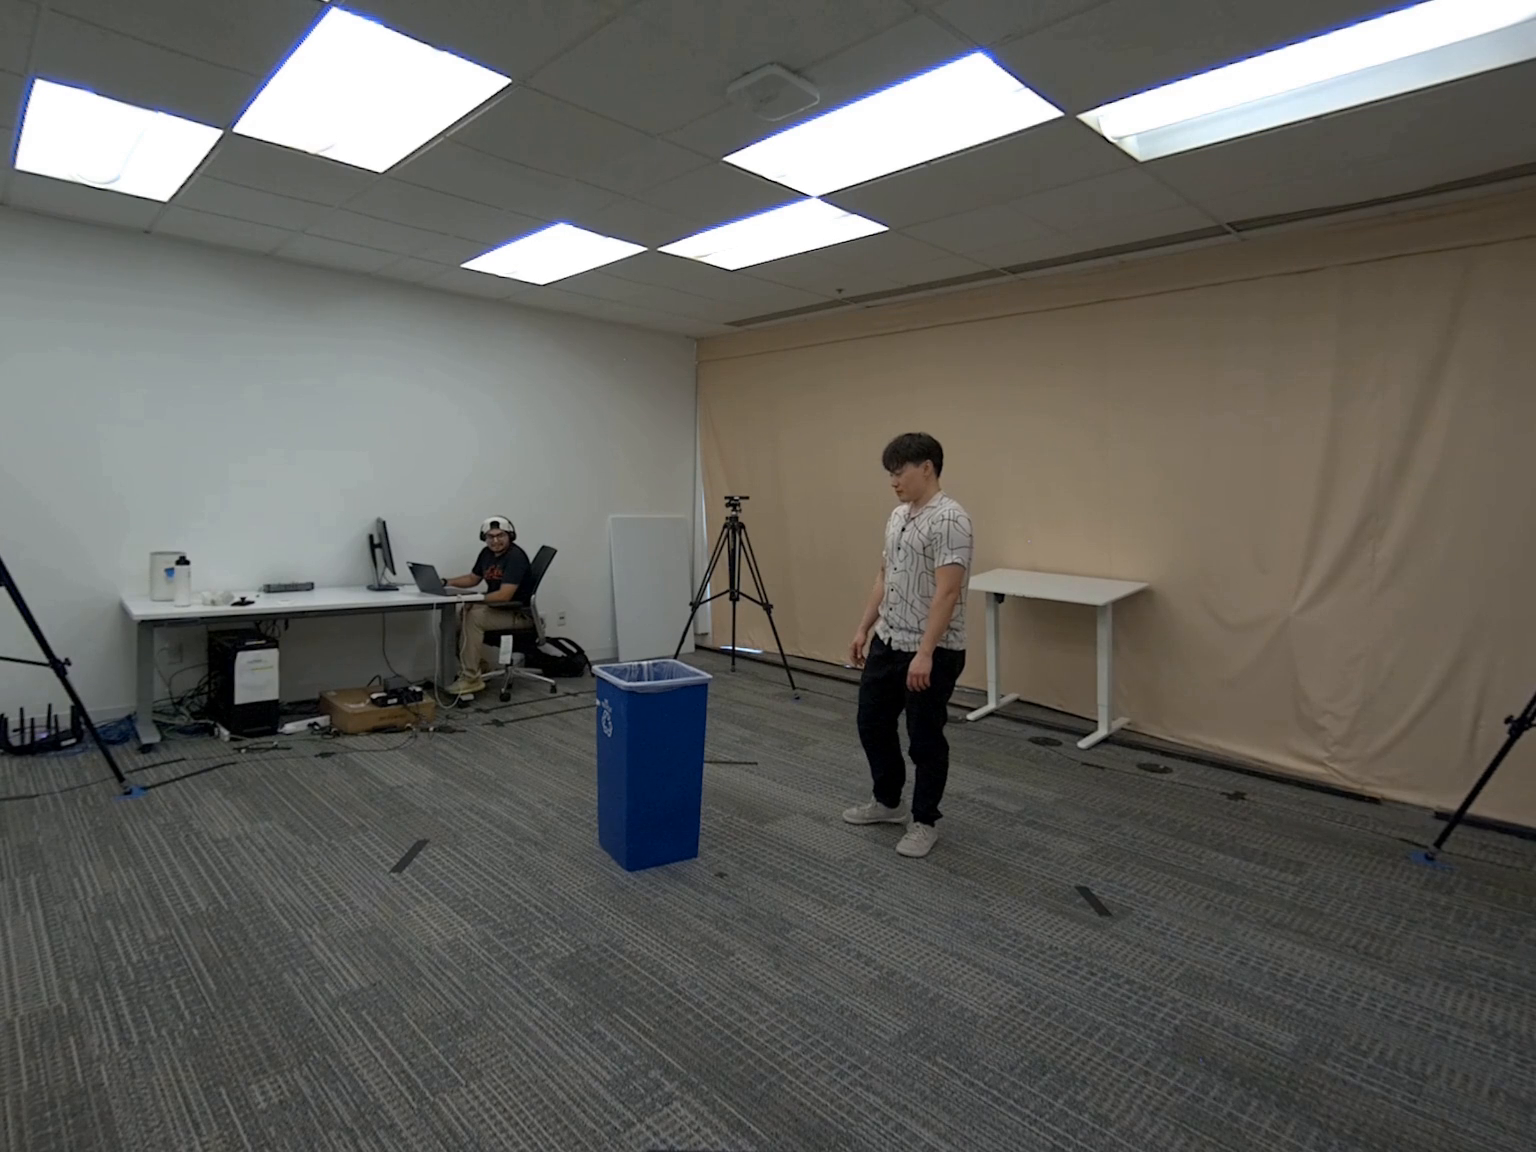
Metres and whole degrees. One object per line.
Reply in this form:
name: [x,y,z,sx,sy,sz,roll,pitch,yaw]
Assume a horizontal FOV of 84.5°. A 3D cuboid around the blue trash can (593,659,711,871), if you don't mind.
blue trash can: [-0.468,0.727,3.275,0.370,0.711,0.383,-2,5,-32]
